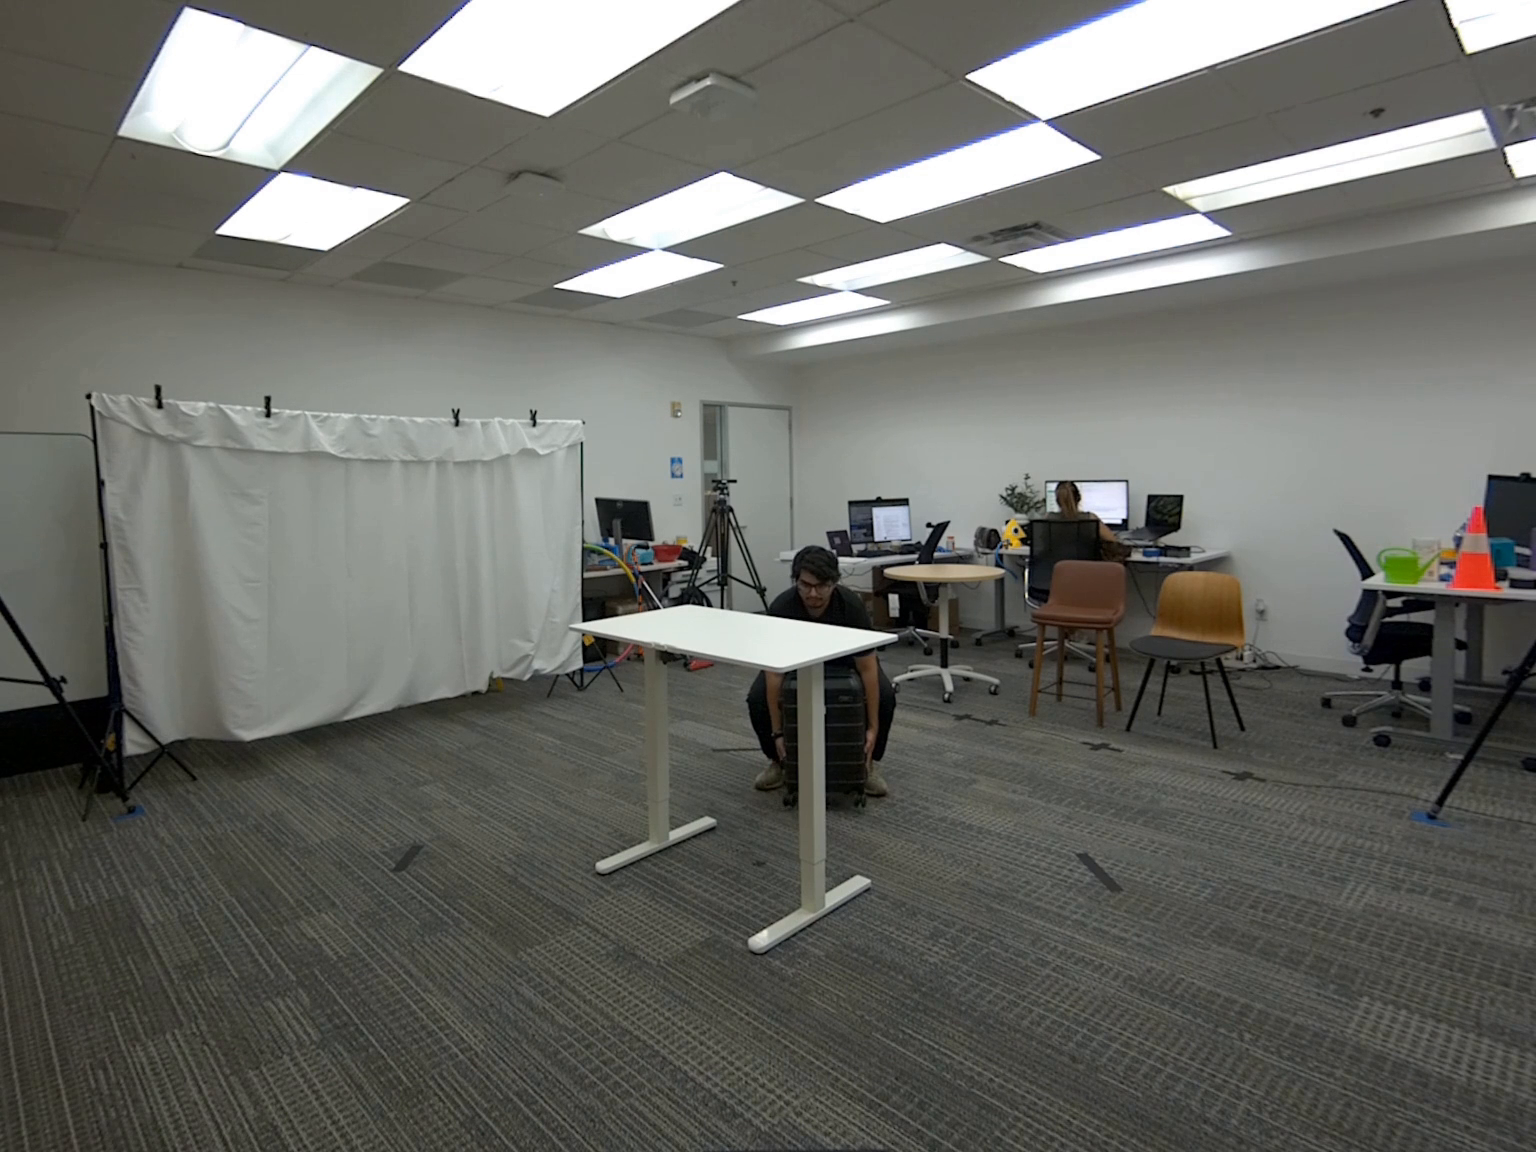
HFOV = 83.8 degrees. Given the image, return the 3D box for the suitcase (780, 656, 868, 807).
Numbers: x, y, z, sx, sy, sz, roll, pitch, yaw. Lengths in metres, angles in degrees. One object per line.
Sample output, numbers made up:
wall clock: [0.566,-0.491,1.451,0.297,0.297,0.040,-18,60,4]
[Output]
suitcase: [0.249,0.677,3.688,0.378,0.547,0.247,-1,4,8]
